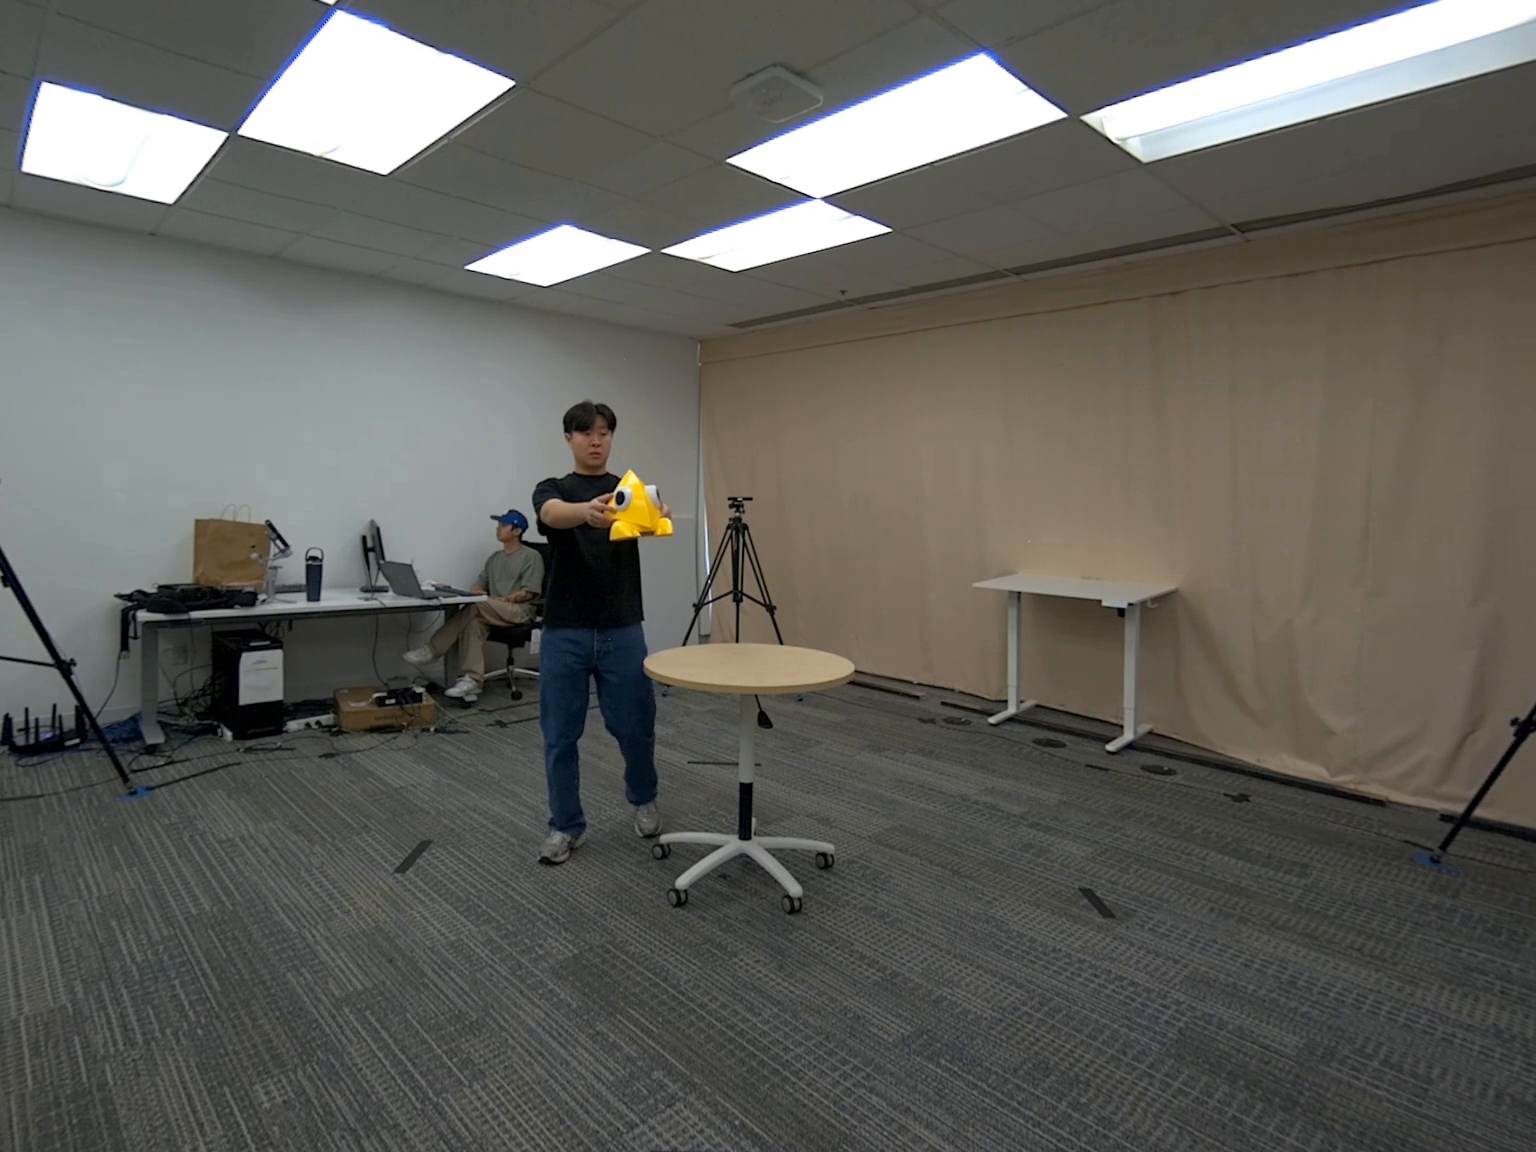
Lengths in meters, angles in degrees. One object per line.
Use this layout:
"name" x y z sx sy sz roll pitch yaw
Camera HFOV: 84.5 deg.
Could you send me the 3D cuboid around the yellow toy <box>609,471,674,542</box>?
"yellow toy" -0.425 -0.237 2.718 0.201 0.231 0.196 -5 -1 -25
